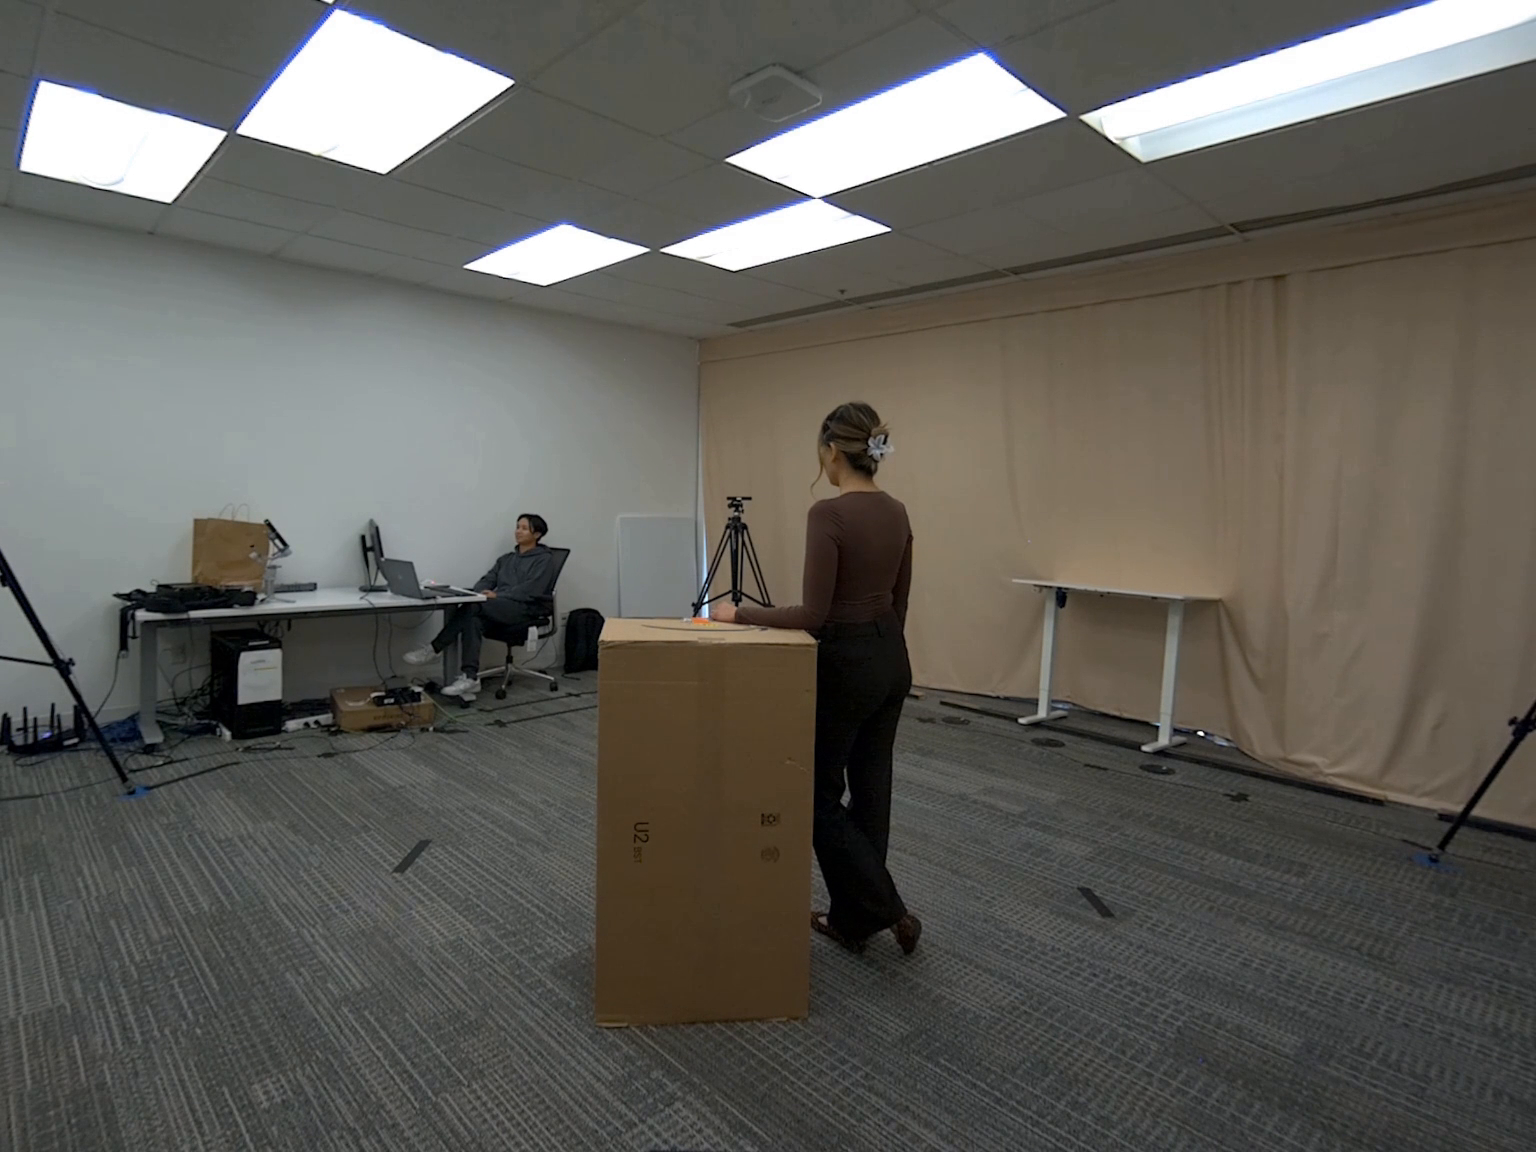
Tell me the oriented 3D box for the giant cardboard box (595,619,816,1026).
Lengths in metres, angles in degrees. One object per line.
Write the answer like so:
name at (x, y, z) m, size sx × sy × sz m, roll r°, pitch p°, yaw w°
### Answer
giant cardboard box at (-0.203, 0.661, 2.406) m, size 0.580 × 1.024 × 0.451 m, roll 1°, pitch 3°, yaw -8°
